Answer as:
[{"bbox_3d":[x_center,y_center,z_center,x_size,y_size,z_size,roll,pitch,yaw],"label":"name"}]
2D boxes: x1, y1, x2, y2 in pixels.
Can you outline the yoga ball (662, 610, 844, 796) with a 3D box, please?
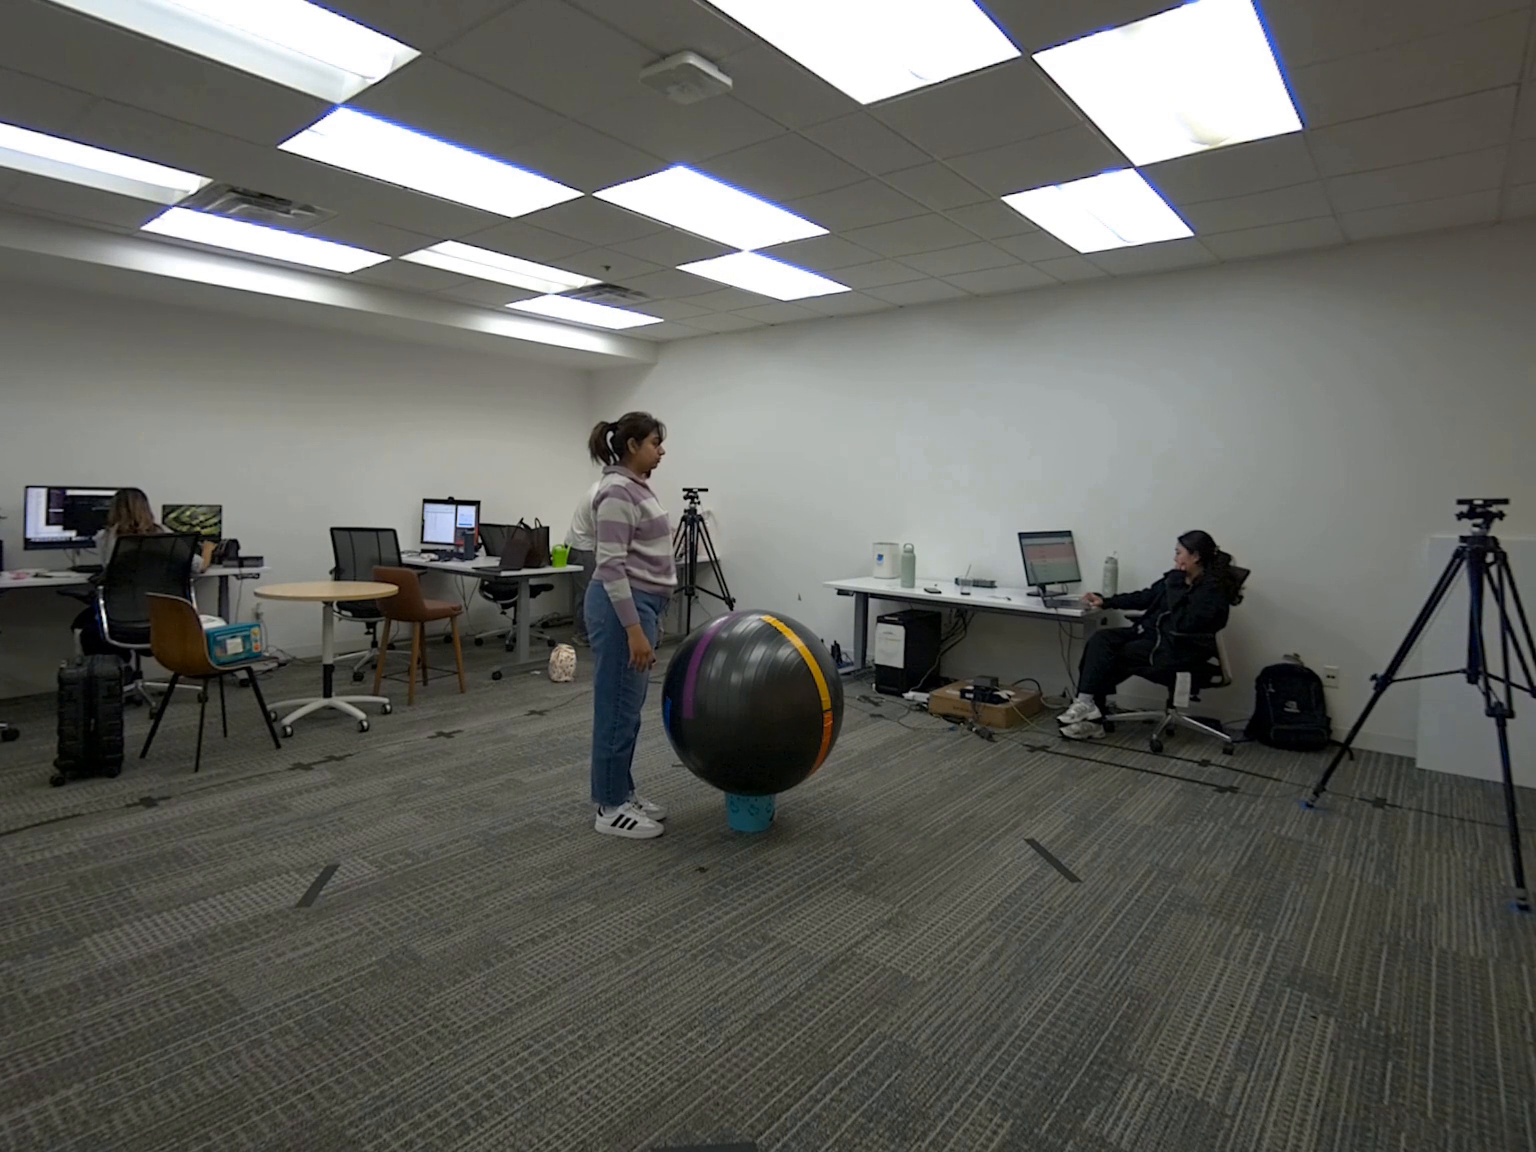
[{"bbox_3d":[-0.072,0.520,3.528,0.757,0.756,0.761,1,4,-2],"label":"yoga ball"}]
